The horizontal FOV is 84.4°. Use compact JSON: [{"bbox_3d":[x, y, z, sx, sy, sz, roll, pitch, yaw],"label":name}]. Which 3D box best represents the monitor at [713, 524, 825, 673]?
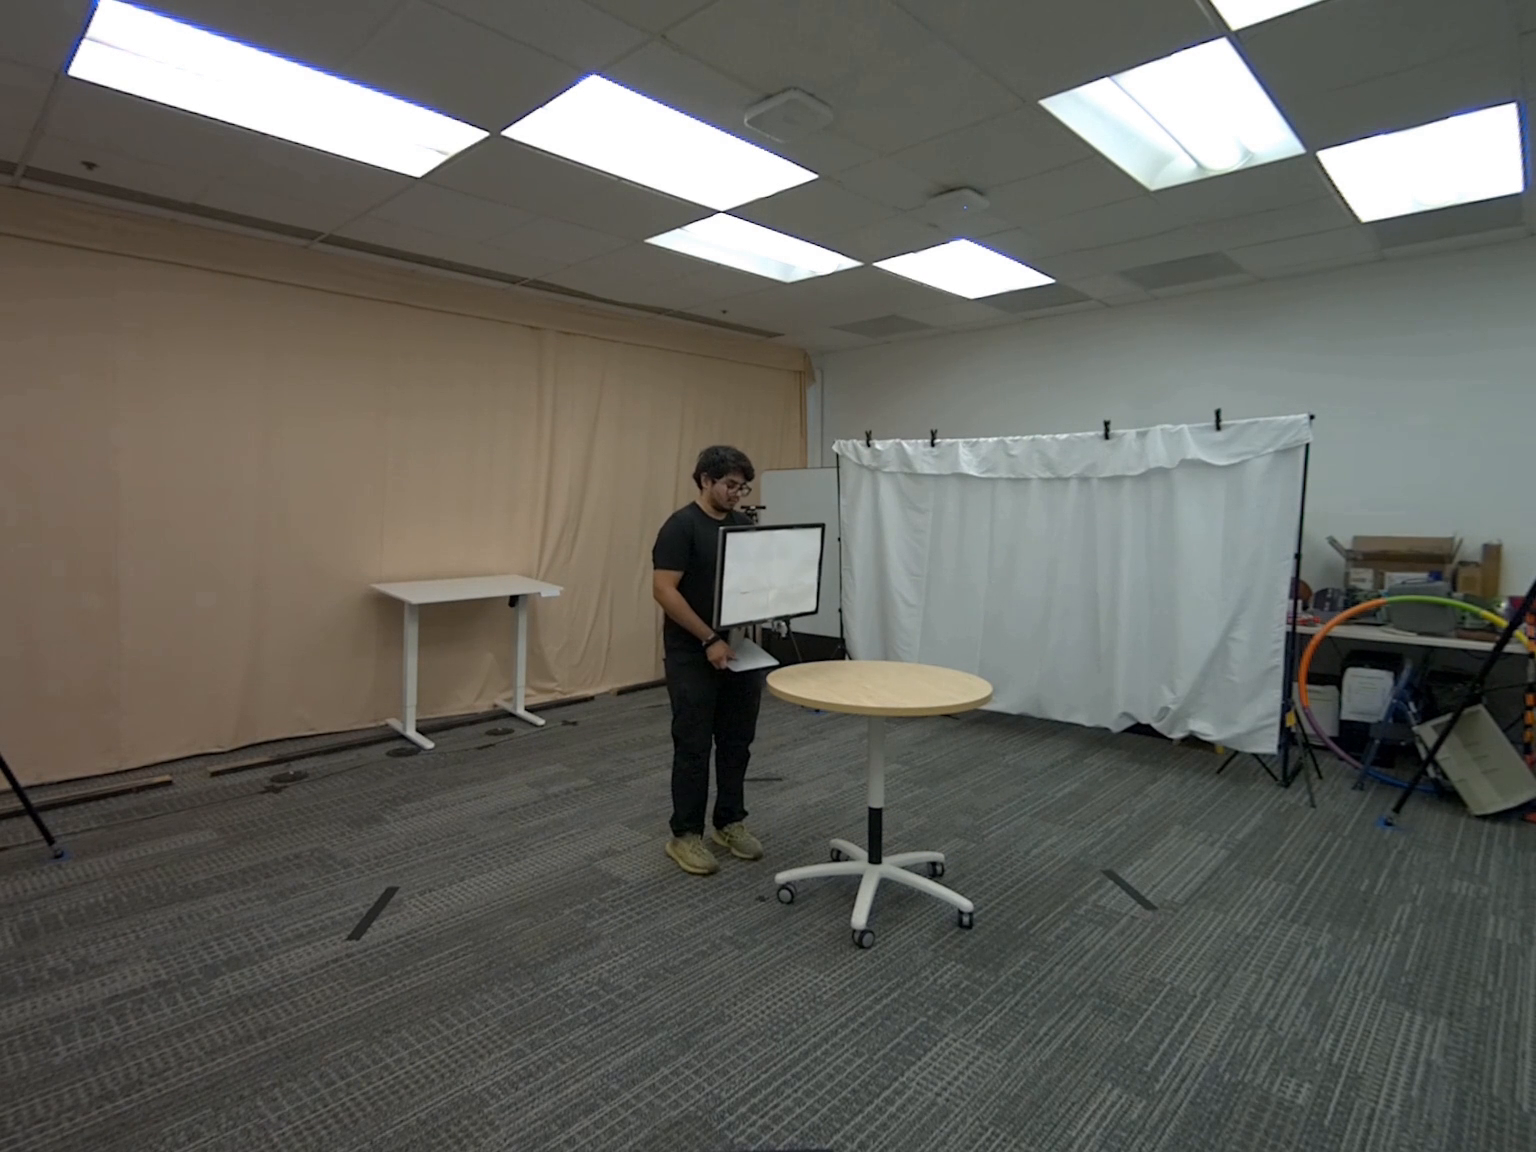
[{"bbox_3d":[-0.049,0.057,3.177,0.548,0.550,0.218,-5,20,-45],"label":"monitor"}]
